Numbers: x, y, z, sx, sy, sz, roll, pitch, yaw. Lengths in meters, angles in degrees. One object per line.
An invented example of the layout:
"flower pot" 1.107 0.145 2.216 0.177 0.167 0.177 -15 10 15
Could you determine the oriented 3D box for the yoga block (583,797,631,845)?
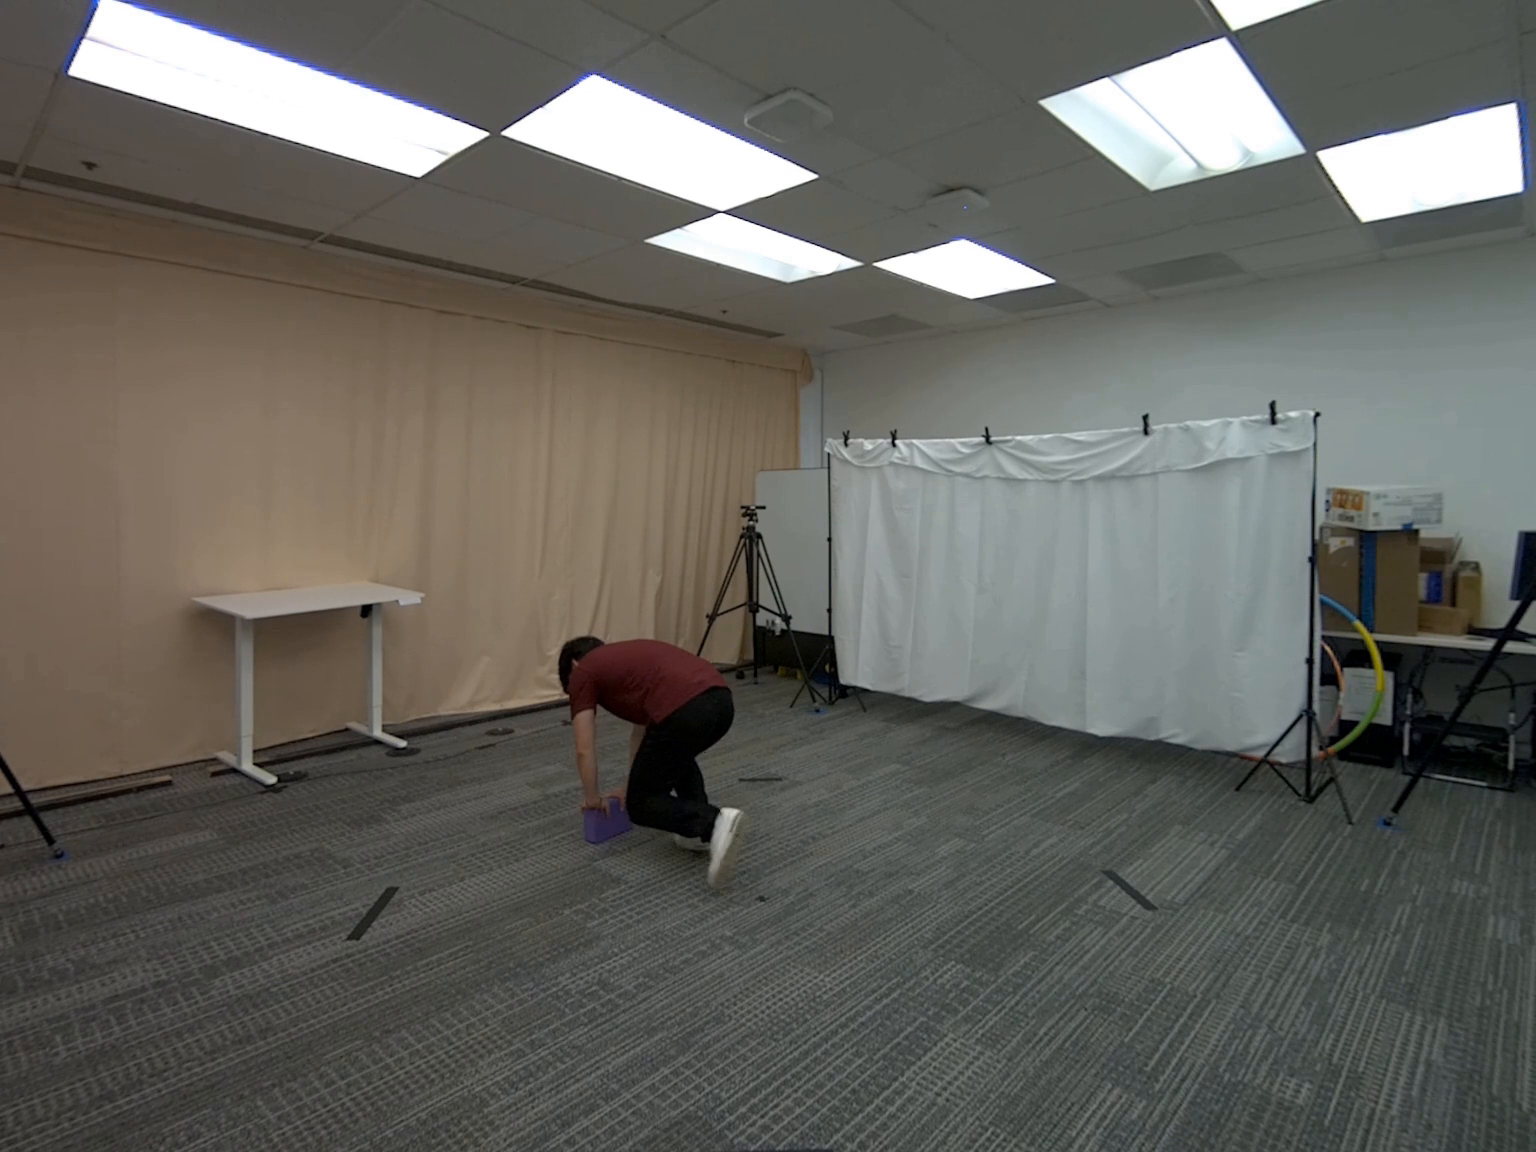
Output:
"yoga block" -0.679 1.030 3.578 0.079 0.149 0.223 -1 3 35
